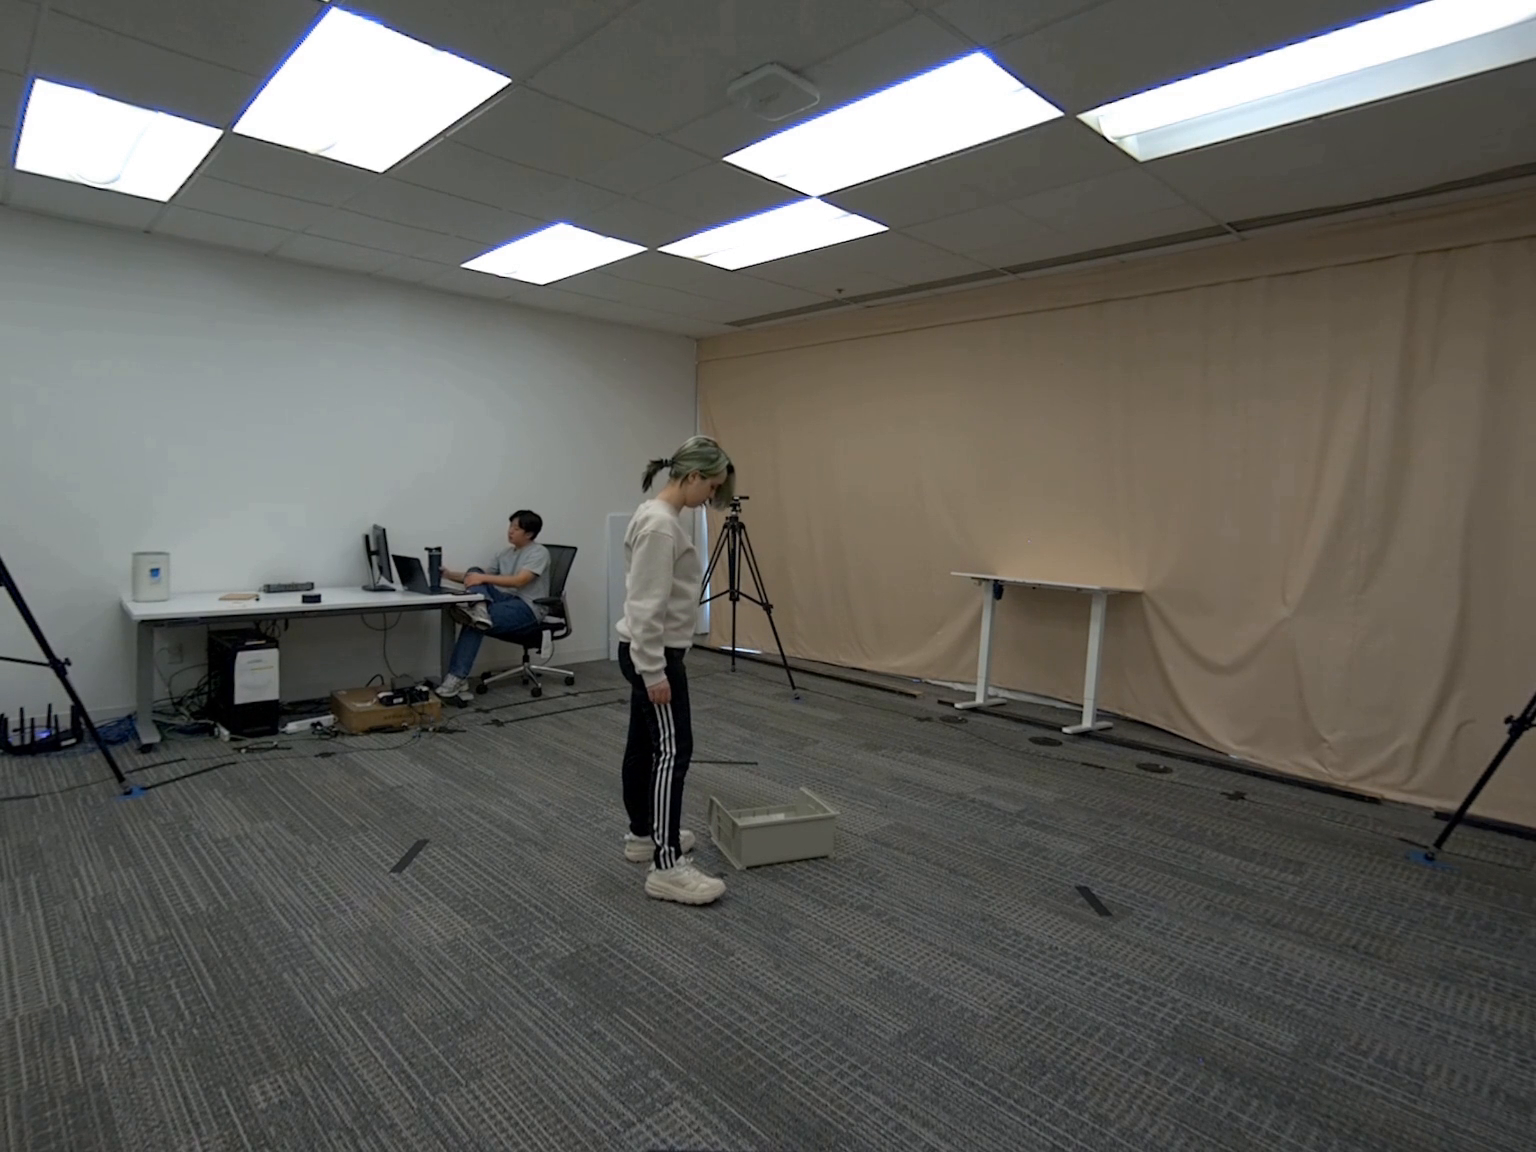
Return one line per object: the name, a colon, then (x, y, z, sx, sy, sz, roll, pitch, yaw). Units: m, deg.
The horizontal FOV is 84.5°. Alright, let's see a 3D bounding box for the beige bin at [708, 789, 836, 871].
beige bin: (0.001, 0.993, 3.375, 0.415, 0.188, 0.385, 1, 5, -22)
